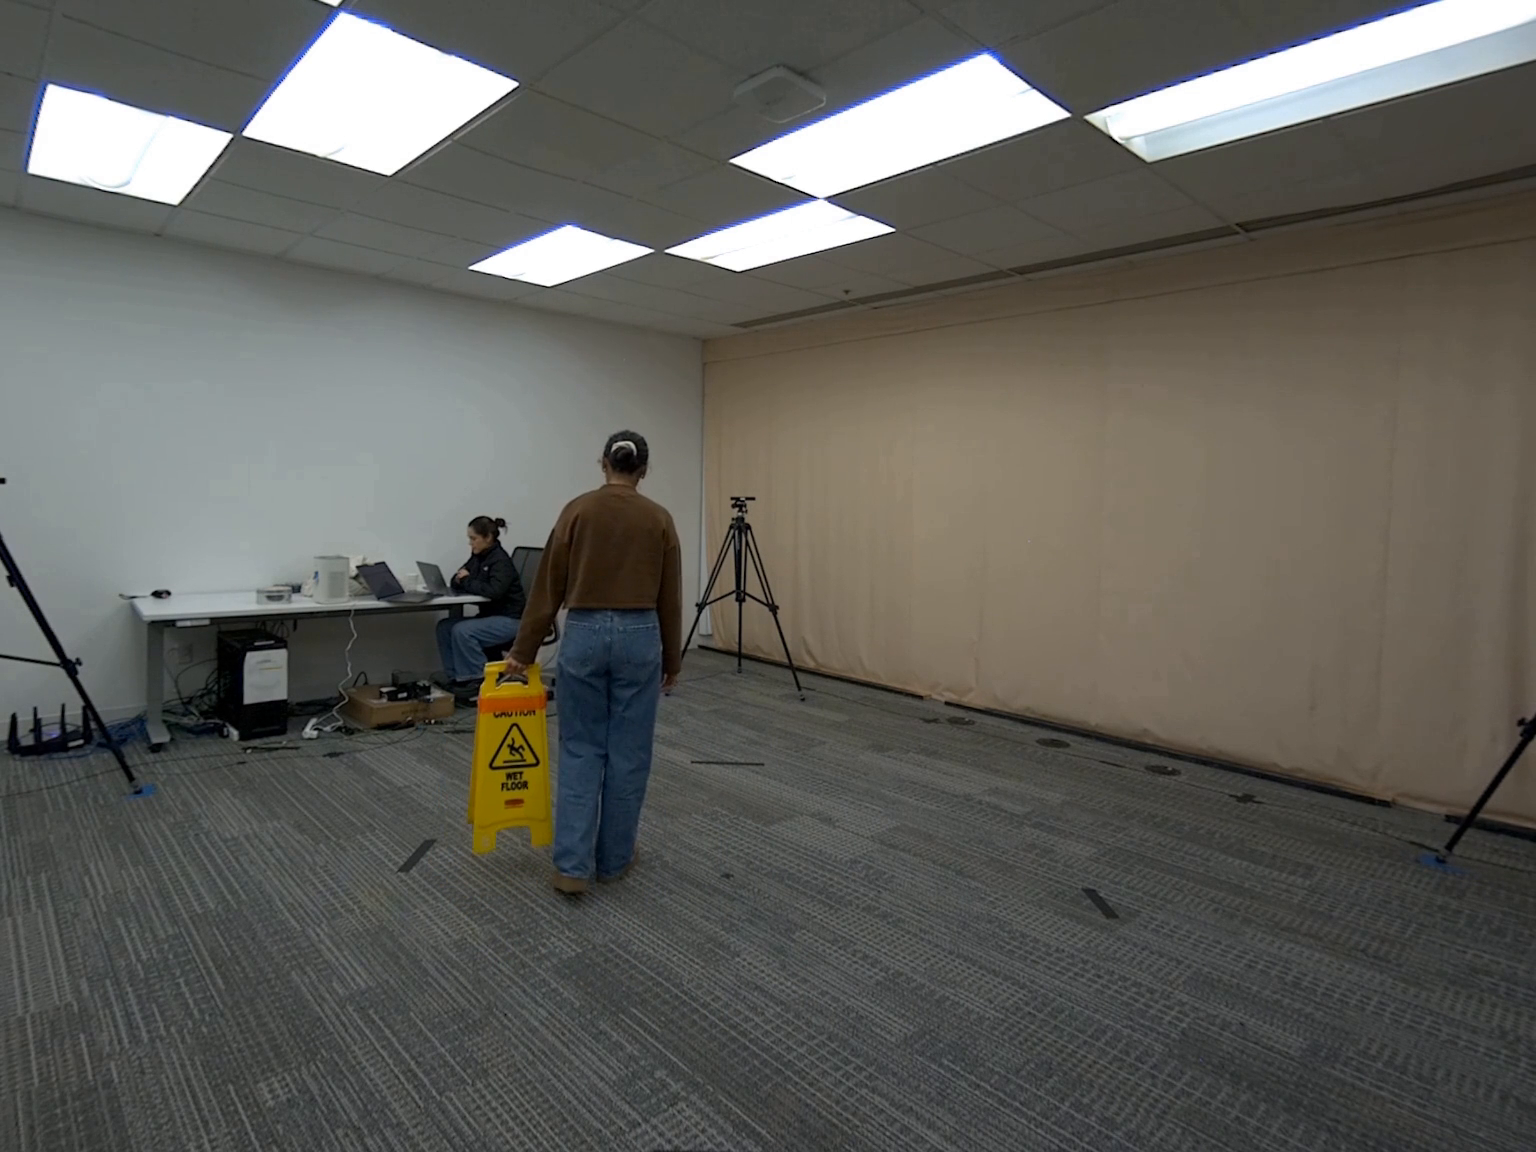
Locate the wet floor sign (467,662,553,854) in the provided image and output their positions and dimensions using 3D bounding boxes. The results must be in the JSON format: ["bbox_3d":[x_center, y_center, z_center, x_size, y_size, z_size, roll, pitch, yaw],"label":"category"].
[{"bbox_3d":[-0.945,0.634,3.089,0.277,0.643,0.296,0,6,-24],"label":"wet floor sign"}]
